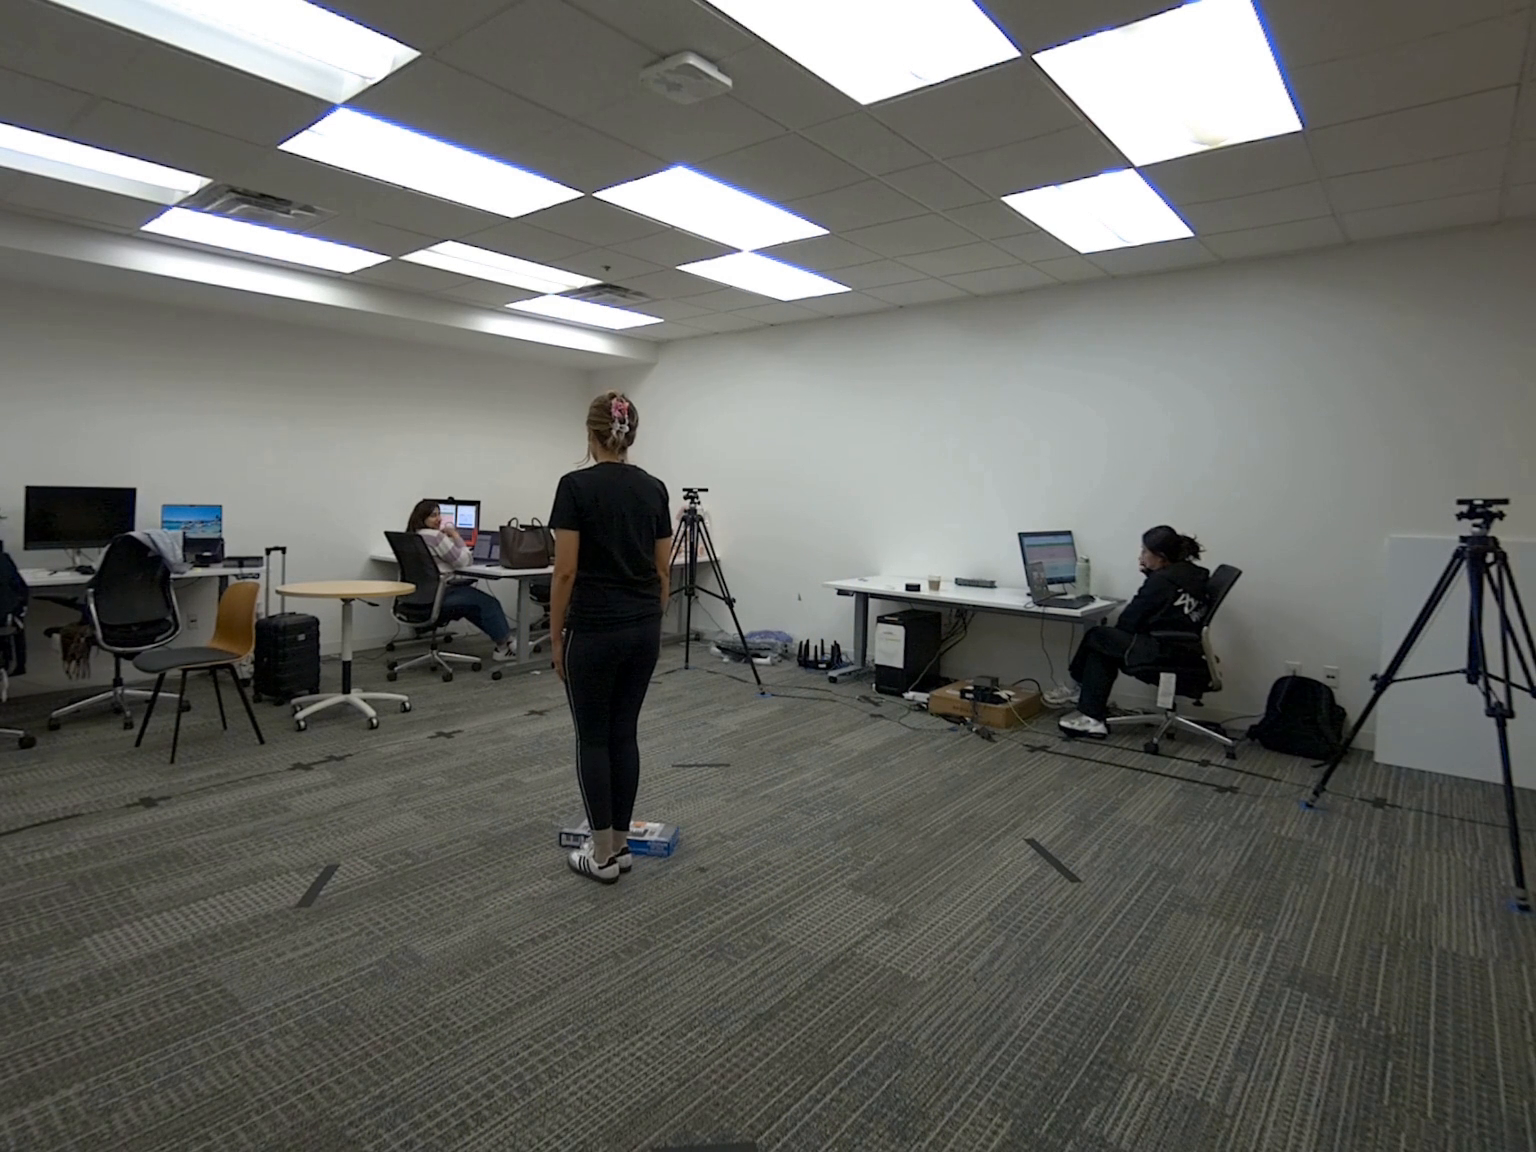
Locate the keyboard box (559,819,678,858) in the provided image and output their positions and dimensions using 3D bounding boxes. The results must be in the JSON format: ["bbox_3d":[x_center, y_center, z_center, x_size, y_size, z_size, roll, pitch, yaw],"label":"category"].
[{"bbox_3d":[-0.589,1.012,3.325,0.442,0.059,0.174,2,5,10],"label":"keyboard box"}]
